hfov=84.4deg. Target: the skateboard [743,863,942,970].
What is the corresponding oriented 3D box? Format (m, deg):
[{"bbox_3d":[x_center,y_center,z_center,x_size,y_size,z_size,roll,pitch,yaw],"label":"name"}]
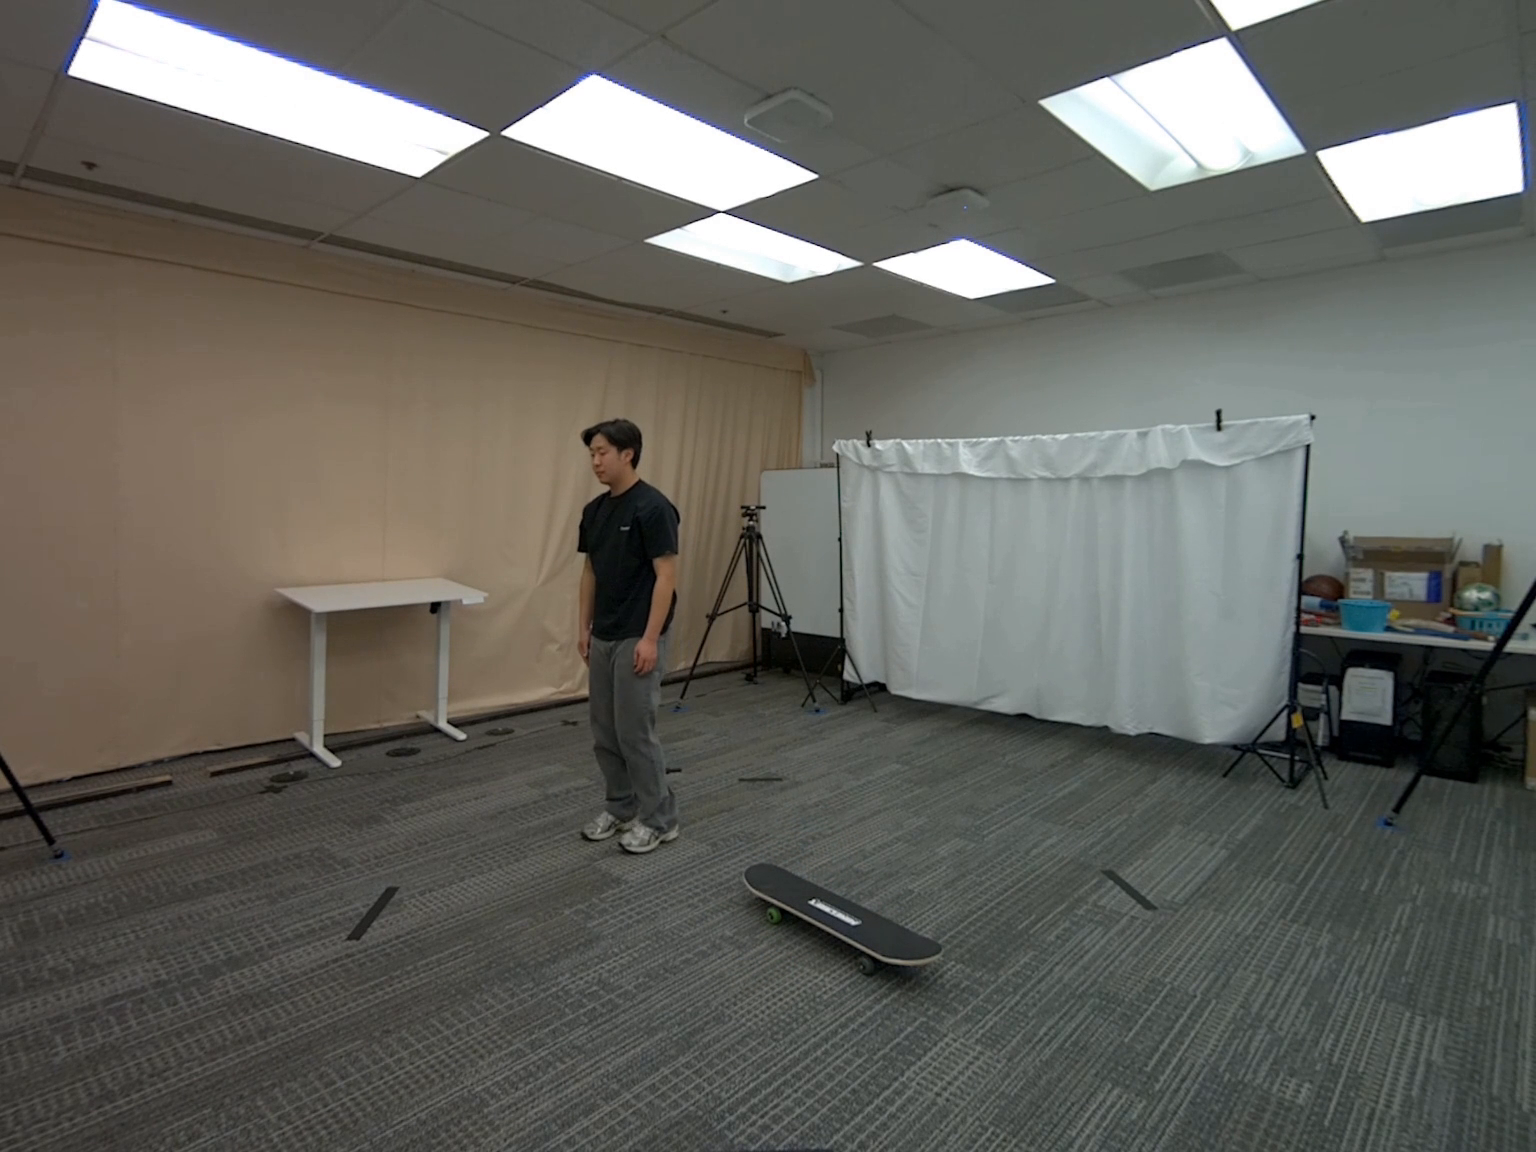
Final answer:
[{"bbox_3d":[0.219,1.109,2.703,0.187,0.110,0.812,-3,6,-41],"label":"skateboard"}]
